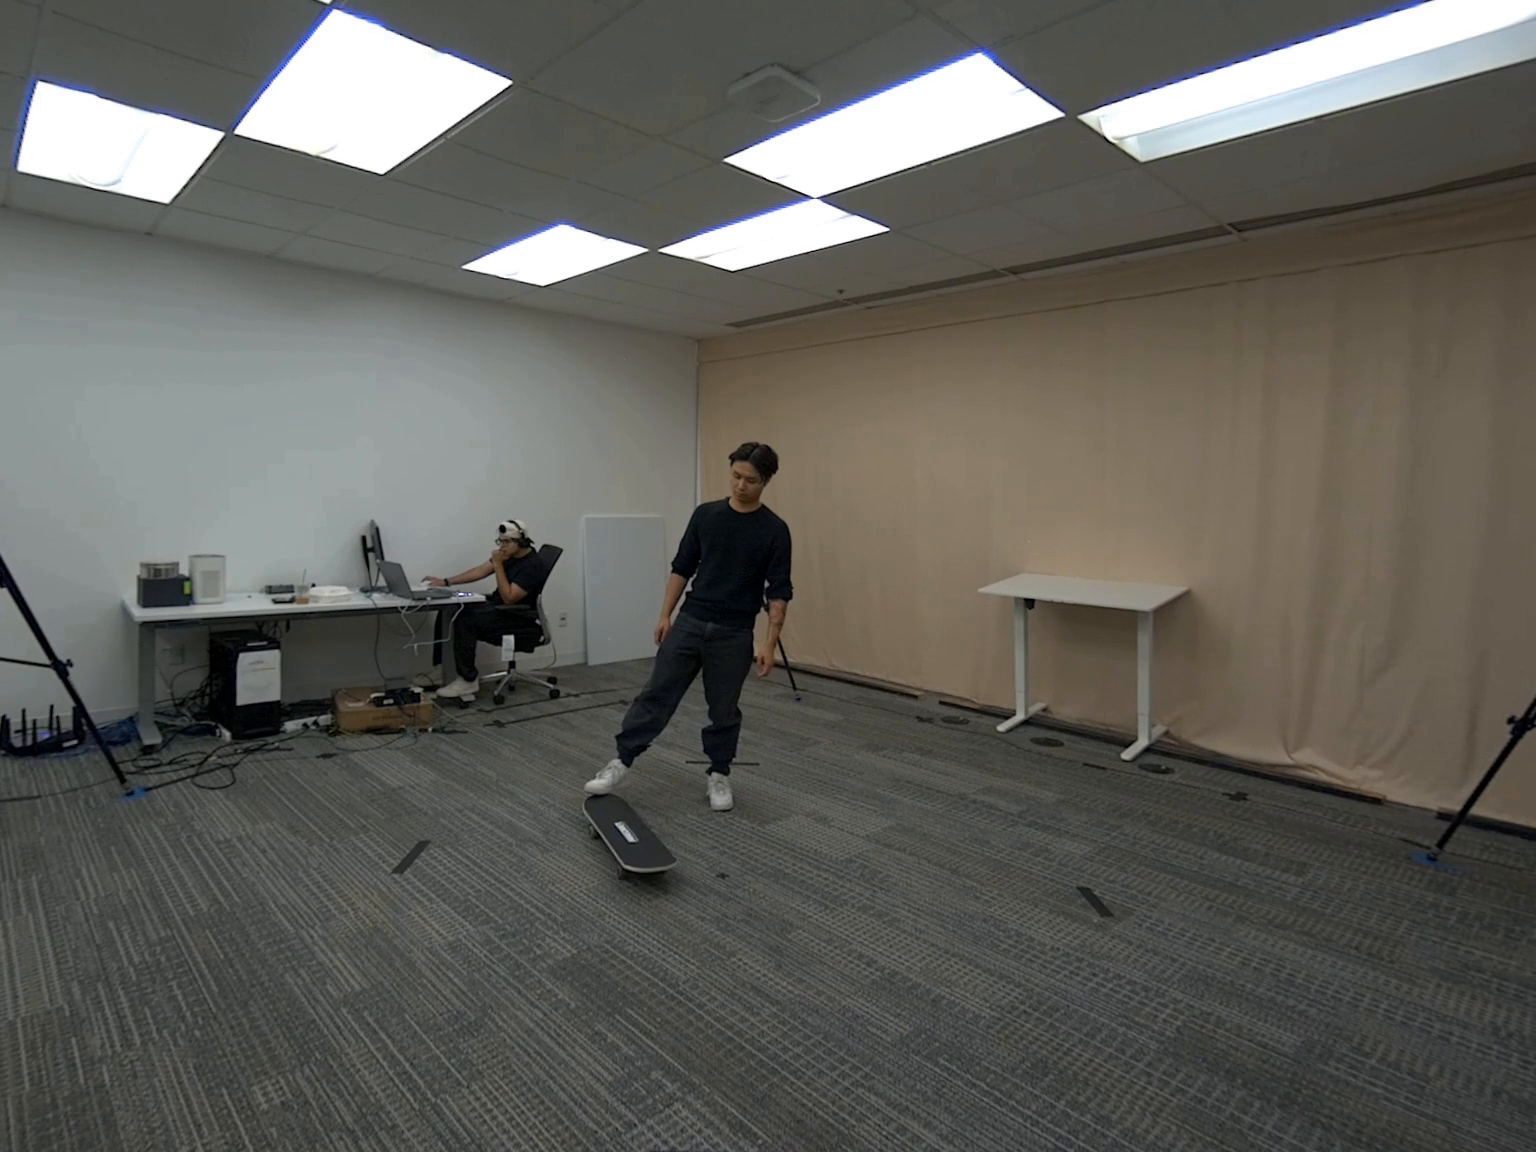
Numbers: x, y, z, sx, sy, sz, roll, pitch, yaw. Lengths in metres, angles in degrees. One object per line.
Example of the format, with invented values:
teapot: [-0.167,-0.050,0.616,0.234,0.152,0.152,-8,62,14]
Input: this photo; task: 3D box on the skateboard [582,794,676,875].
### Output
skateboard: [-0.558,1.027,3.266,0.190,0.110,0.802,0,5,-26]
